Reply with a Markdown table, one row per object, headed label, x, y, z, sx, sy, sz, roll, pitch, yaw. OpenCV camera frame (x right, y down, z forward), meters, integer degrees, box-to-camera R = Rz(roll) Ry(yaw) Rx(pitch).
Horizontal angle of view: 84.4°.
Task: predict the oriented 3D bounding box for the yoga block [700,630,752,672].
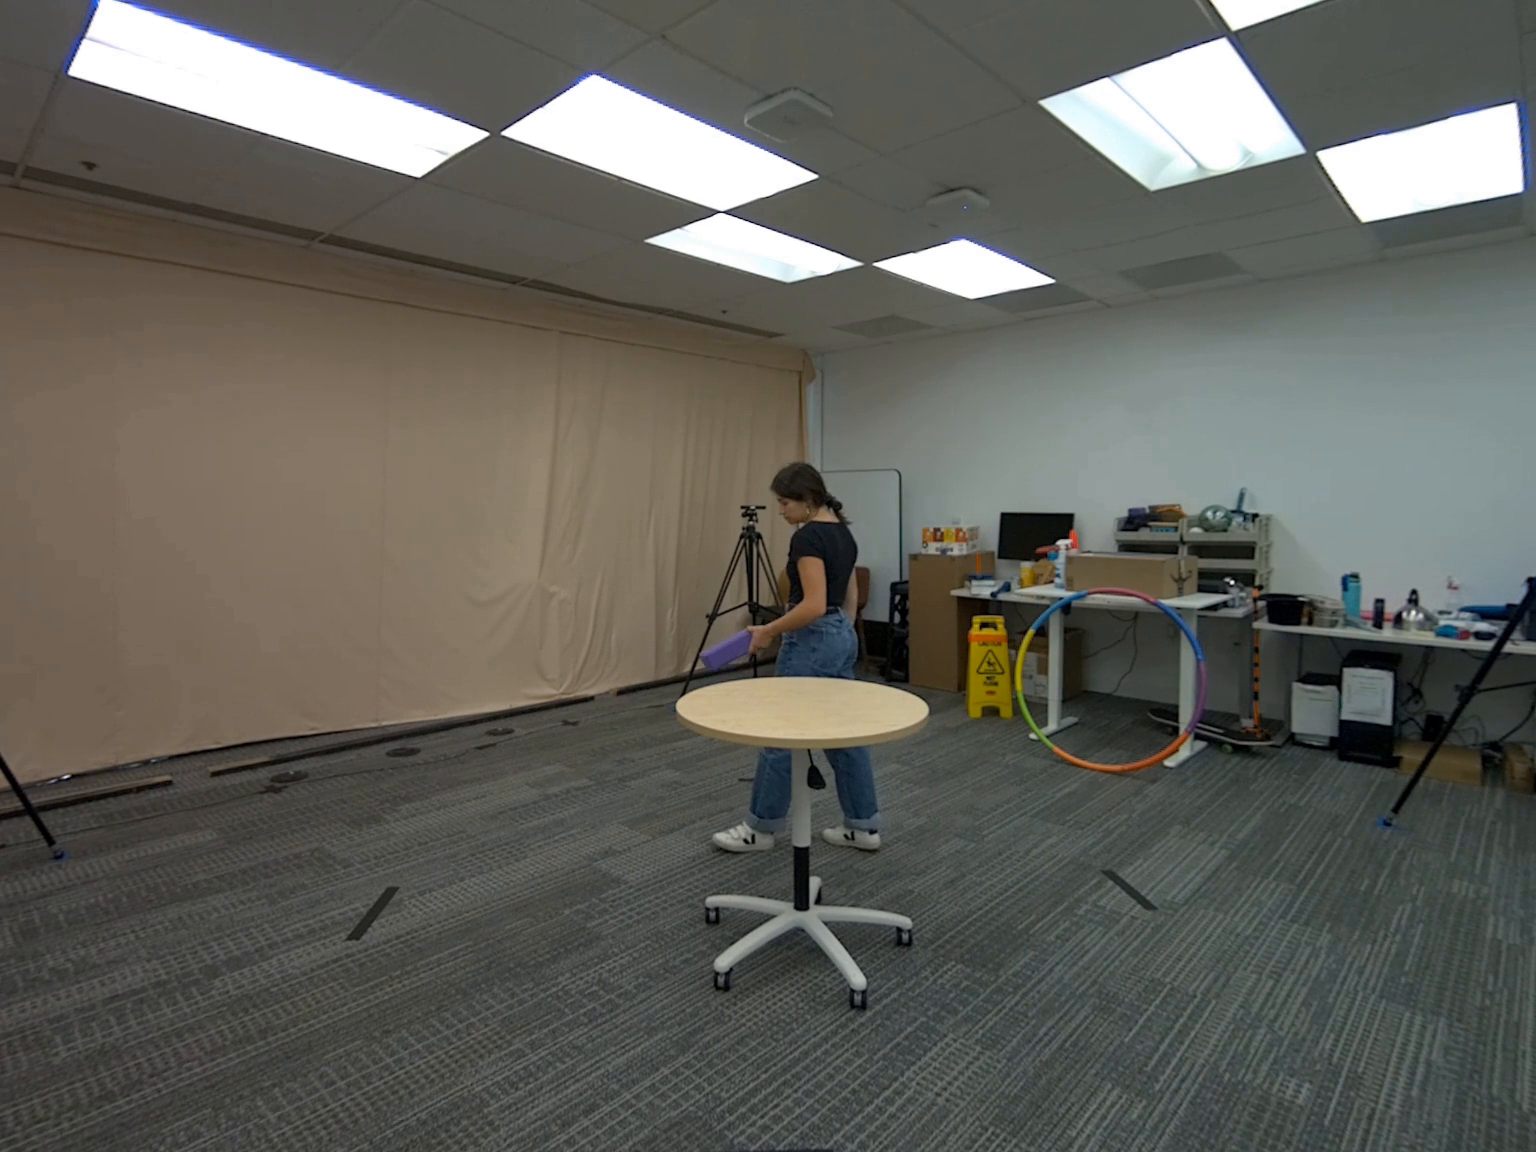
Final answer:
| label | x | y | z | sx | sy | sz | roll | pitch | yaw |
| --- | --- | --- | --- | --- | --- | --- | --- | --- | --- |
| yoga block | -0.146 | 0.296 | 3.398 | 0.228 | 0.076 | 0.150 | -28 | 5 | -9 |
